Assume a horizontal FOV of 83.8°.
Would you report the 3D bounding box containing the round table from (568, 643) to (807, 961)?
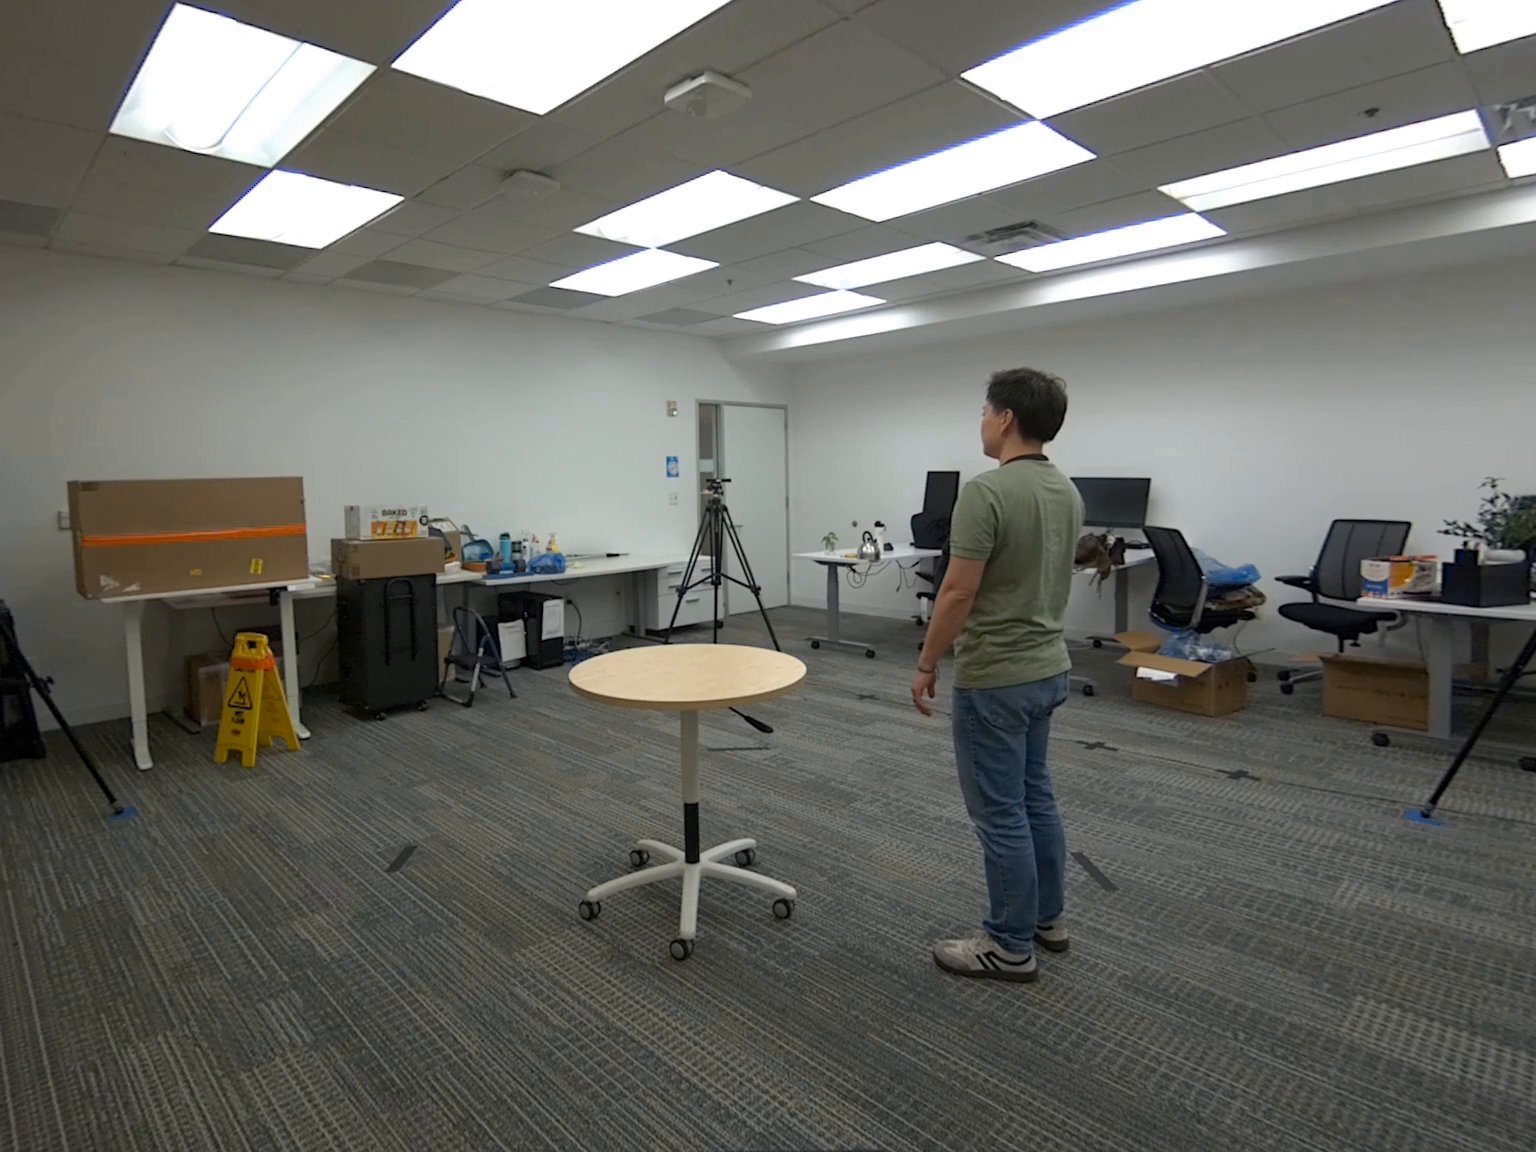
[{"bbox_3d":[-0.249,0.692,2.807,0.763,0.790,0.768,-1,6,-2],"label":"round table"}]
